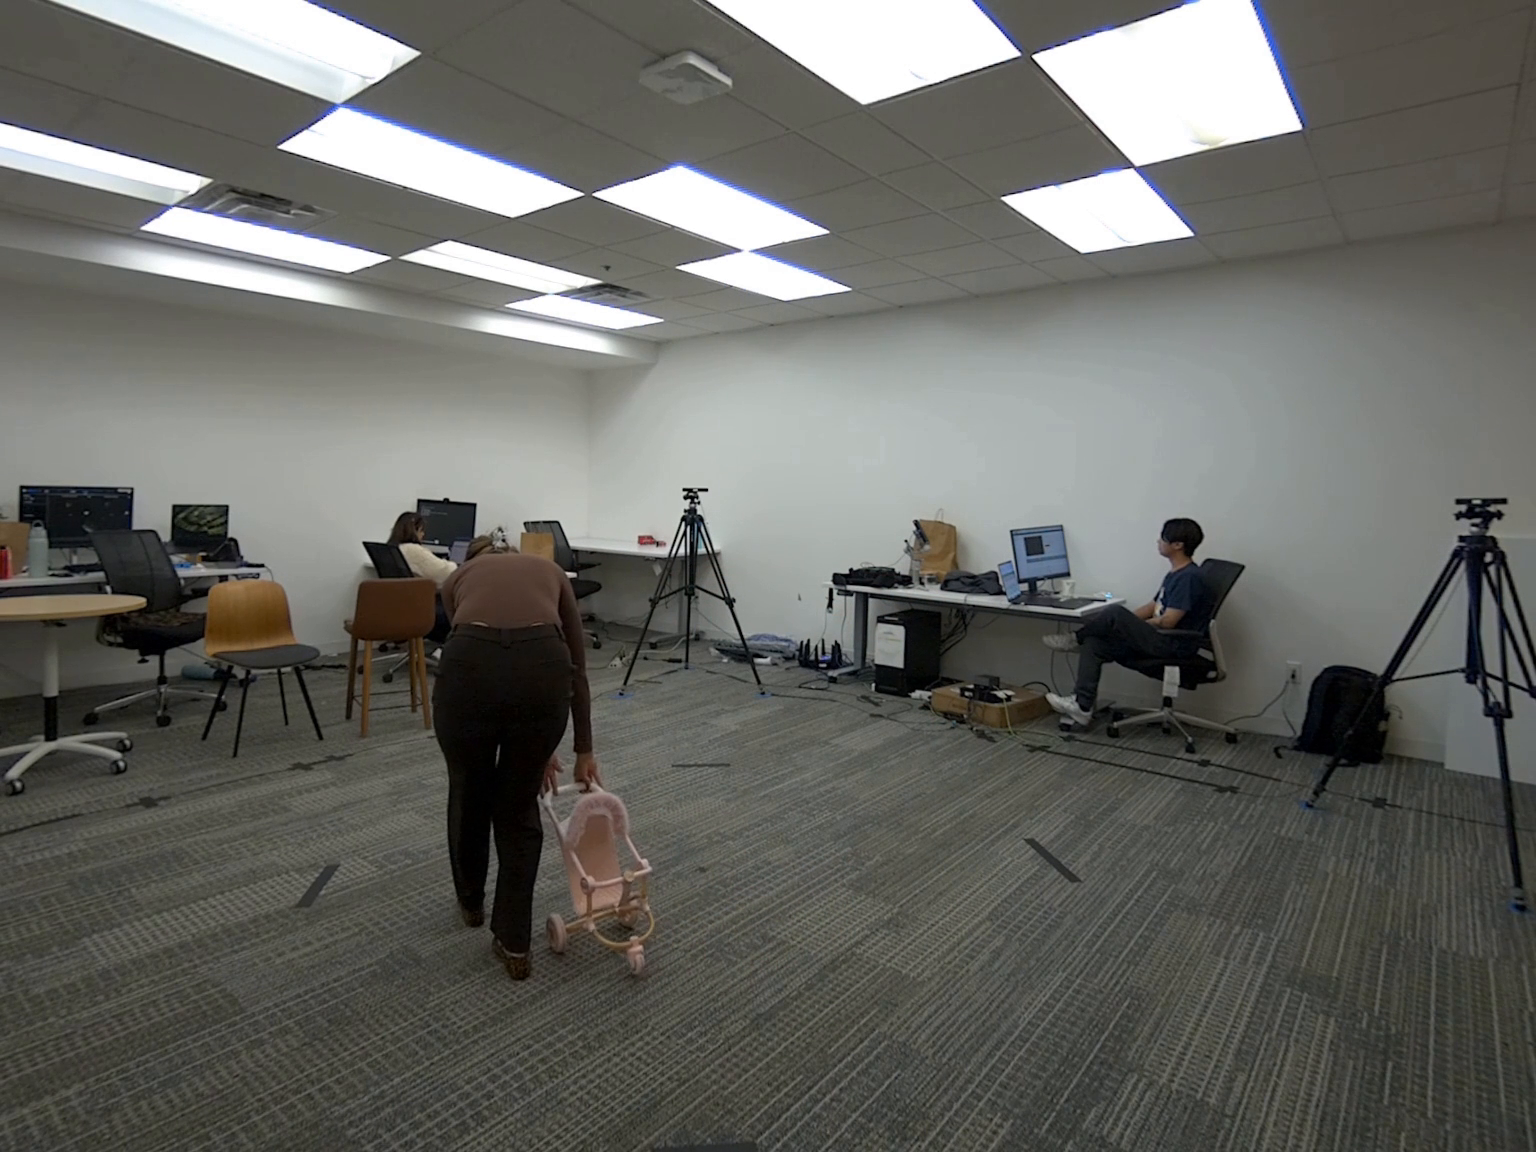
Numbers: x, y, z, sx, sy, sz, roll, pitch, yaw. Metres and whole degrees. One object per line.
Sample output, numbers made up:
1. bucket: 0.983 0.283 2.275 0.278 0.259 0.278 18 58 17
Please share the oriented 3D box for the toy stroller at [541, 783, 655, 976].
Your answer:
1. toy stroller: -0.511 0.895 2.559 0.273 0.542 0.347 -3 -13 -36
